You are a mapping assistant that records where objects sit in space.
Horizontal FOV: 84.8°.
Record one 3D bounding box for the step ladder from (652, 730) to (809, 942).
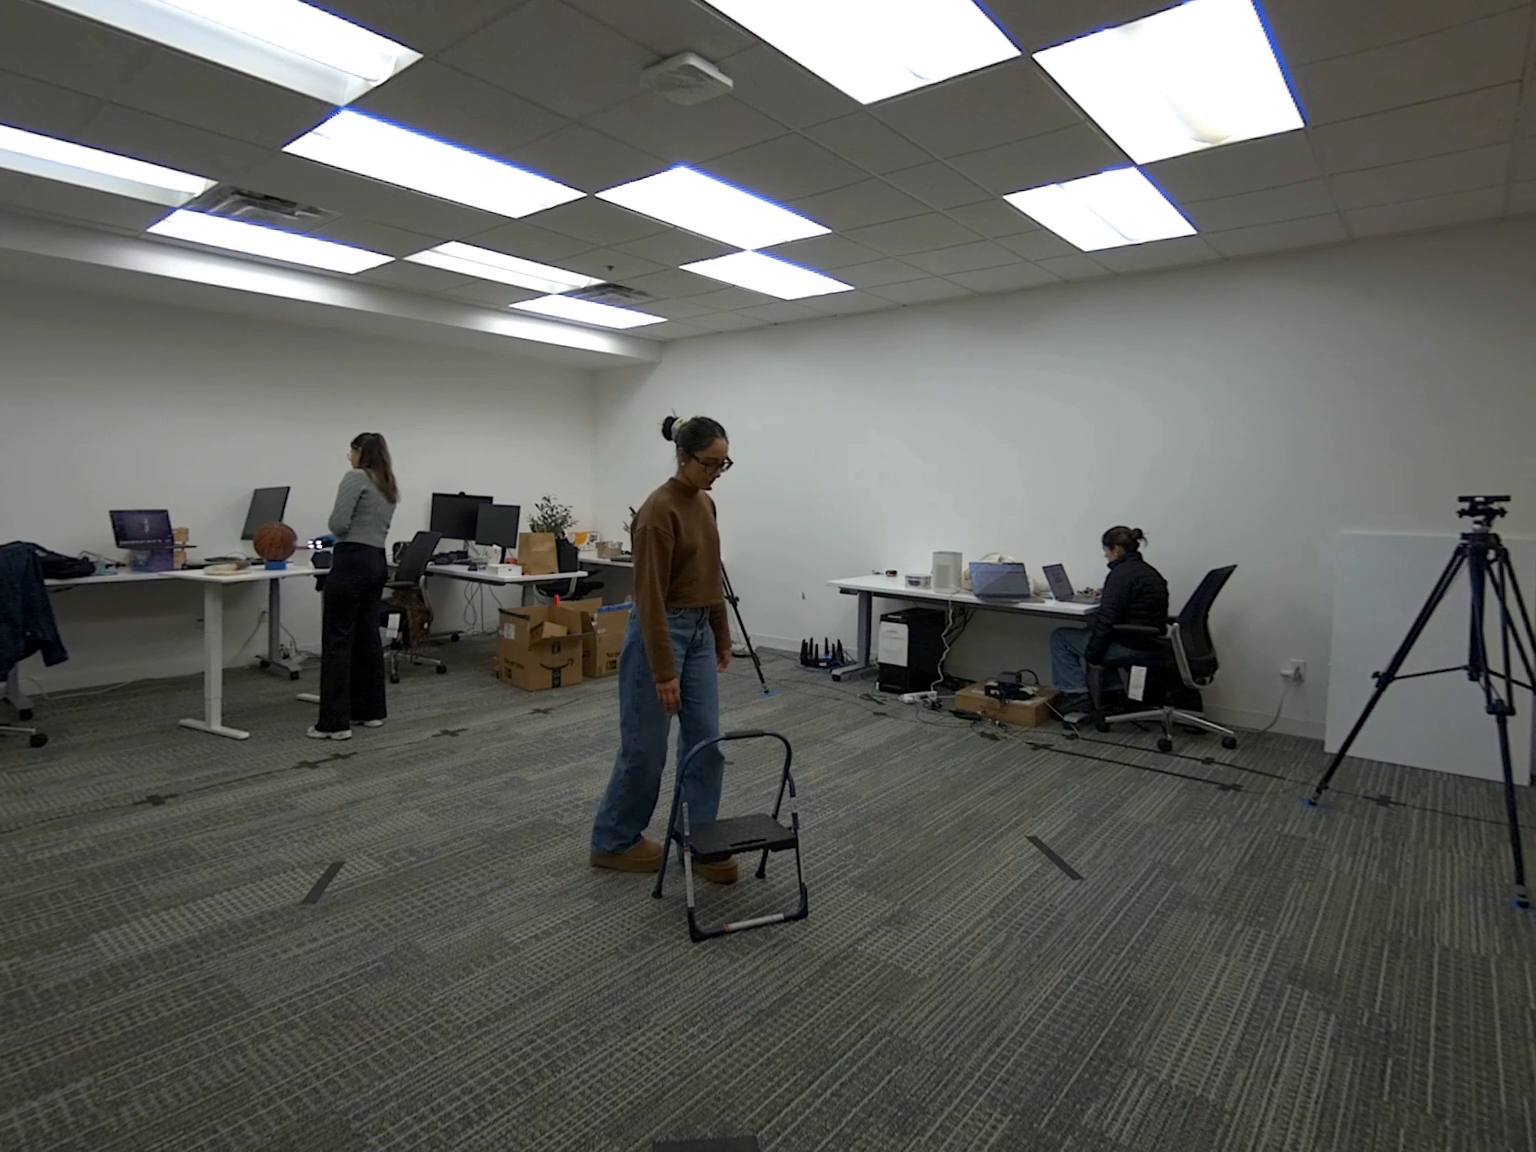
[{"bbox_3d":[-0.134,0.794,2.822,0.420,0.605,0.359,-1,3,-27],"label":"step ladder"}]
